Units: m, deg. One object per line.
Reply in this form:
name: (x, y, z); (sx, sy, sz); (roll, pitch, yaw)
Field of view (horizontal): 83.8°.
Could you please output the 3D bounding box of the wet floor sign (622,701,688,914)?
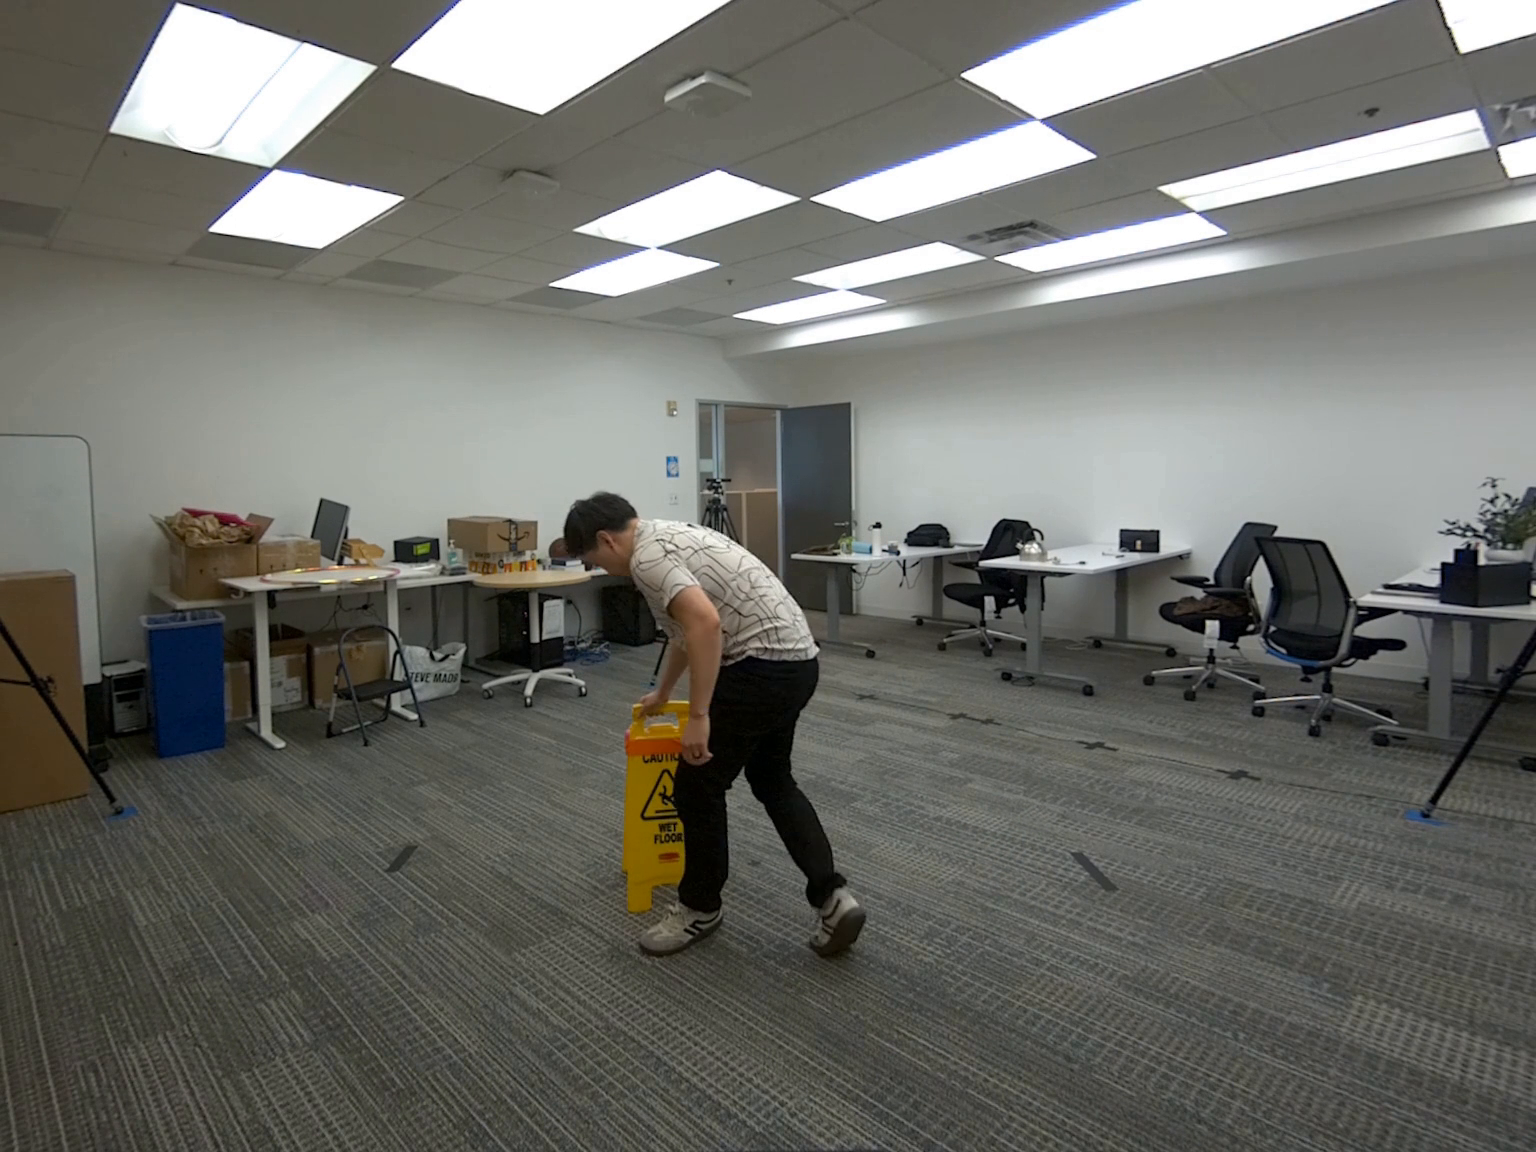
wet floor sign: (-0.356, 0.744, 2.915); (0.279, 0.643, 0.294); (-2, 4, -11)
